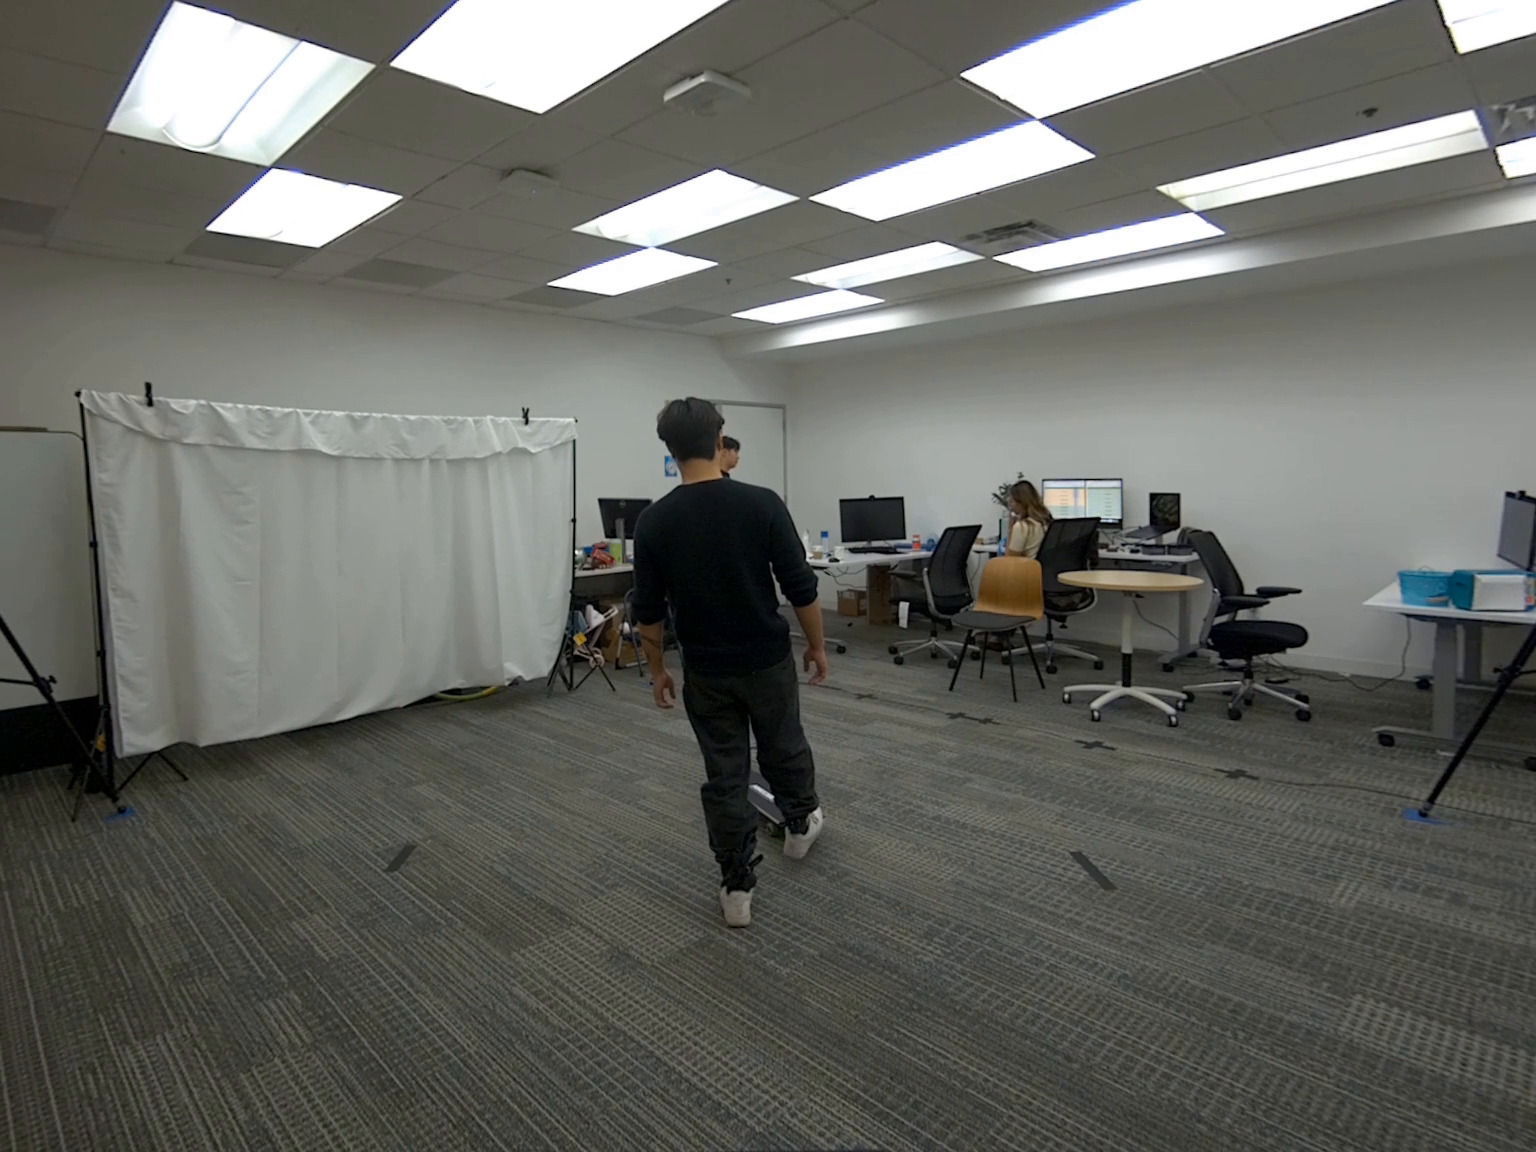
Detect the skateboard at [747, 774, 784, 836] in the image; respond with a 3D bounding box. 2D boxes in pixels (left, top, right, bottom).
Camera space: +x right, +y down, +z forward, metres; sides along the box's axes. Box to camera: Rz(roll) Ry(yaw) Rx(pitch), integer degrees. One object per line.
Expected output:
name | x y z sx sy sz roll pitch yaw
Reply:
skateboard | -0.012 0.940 3.548 0.189 0.110 0.806 -2 6 -27
